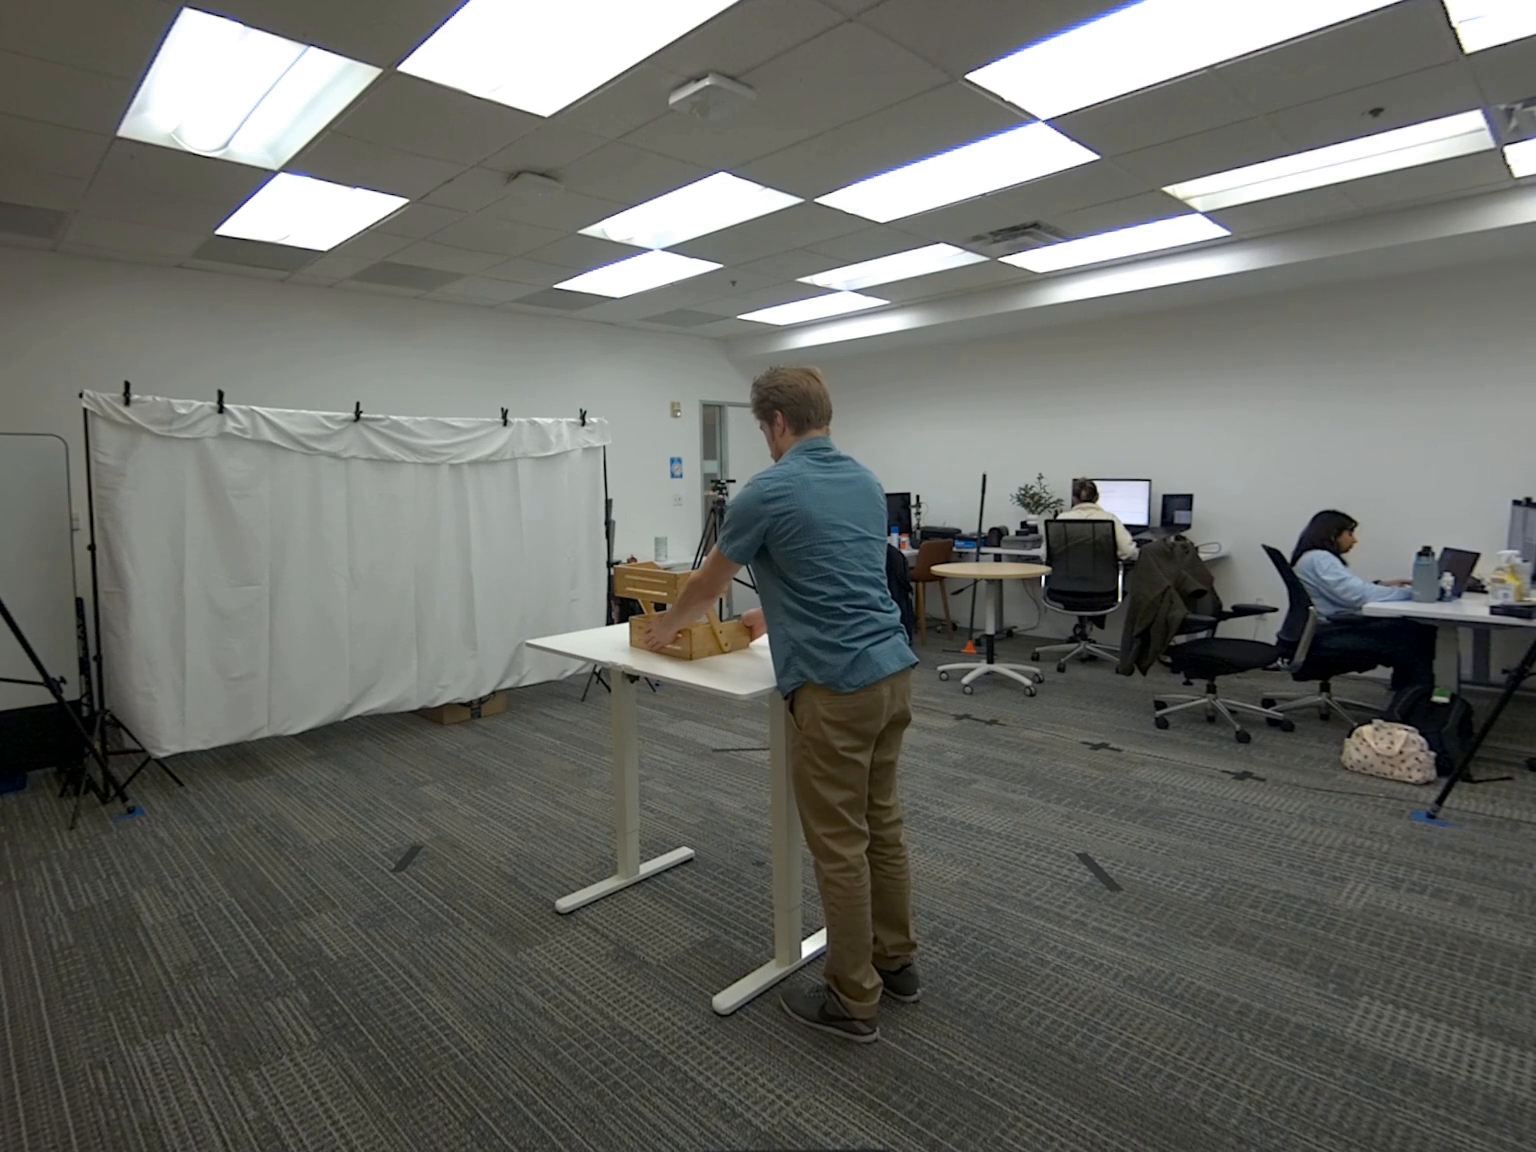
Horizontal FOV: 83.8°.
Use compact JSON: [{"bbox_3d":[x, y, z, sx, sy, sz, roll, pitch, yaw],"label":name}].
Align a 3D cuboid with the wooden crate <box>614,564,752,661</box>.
[{"bbox_3d":[-0.258,0.090,2.634,0.334,0.272,0.294,5,9,44],"label":"wooden crate"}]
